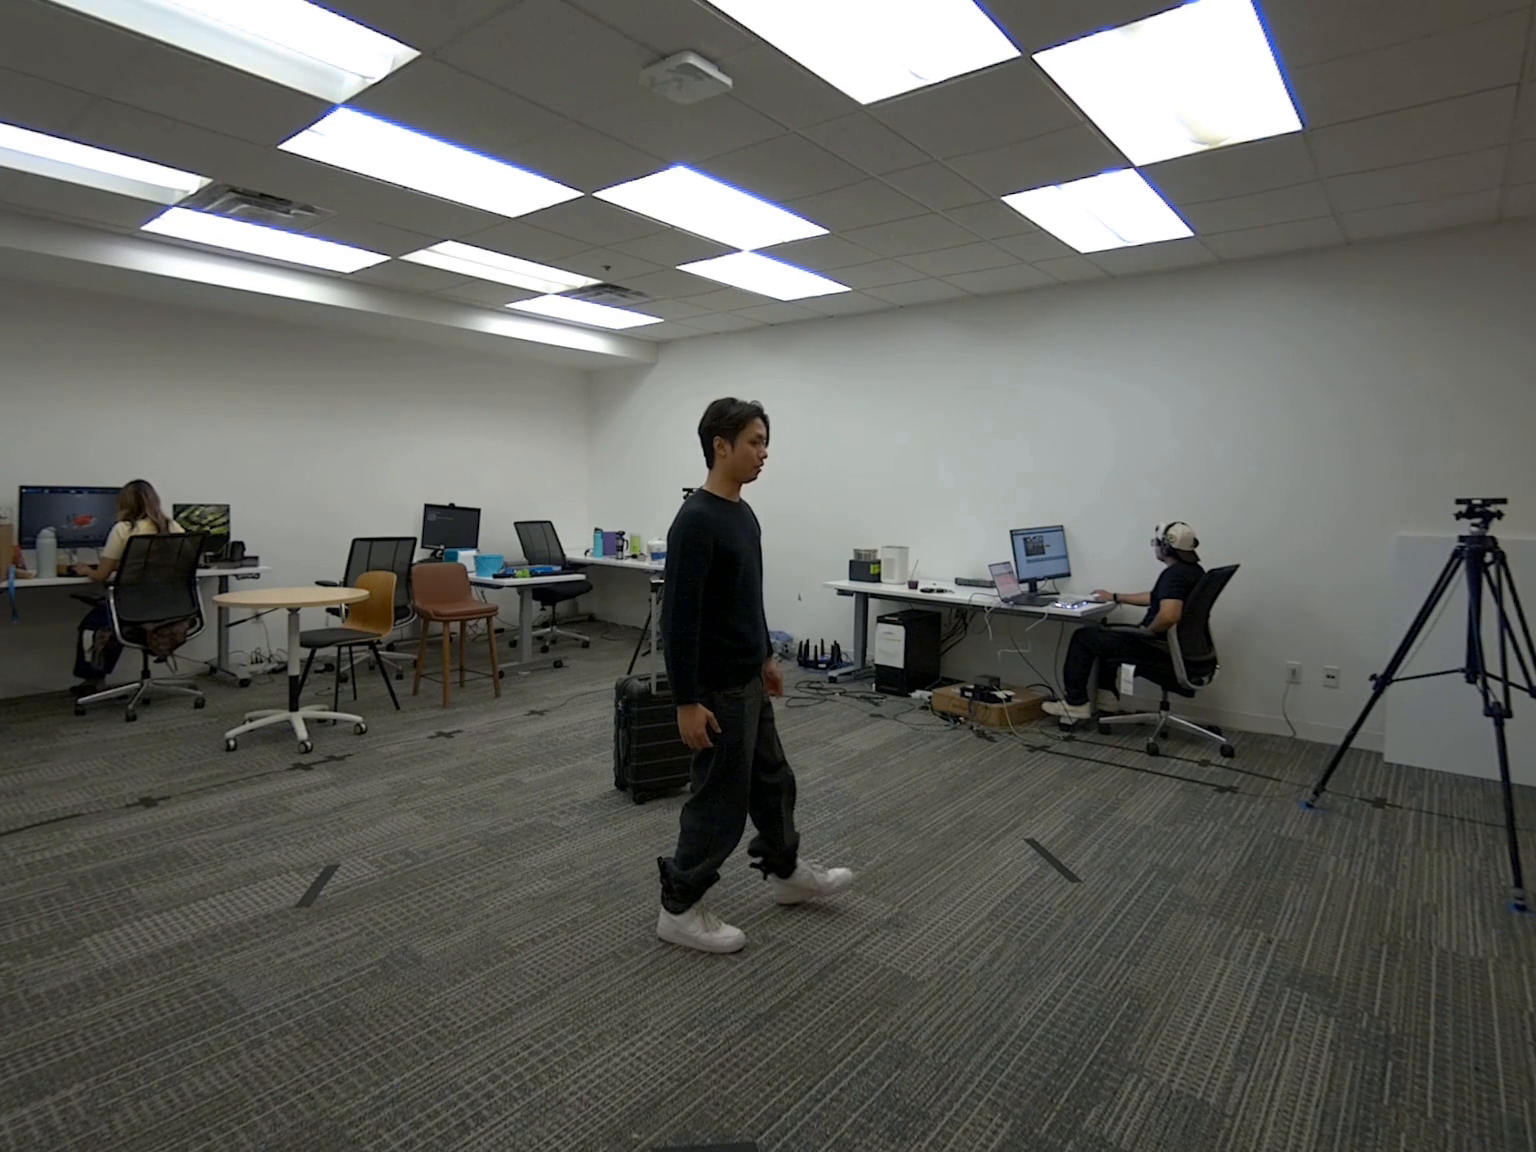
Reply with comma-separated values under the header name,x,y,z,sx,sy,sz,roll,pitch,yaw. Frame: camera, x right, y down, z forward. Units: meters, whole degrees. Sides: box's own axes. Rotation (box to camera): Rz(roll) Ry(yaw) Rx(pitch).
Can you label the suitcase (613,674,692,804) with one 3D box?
name,x,y,z,sx,sy,sz,roll,pitch,yaw
suitcase,-0.530,0.510,3.887,0.374,0.977,0.264,-2,2,-28
